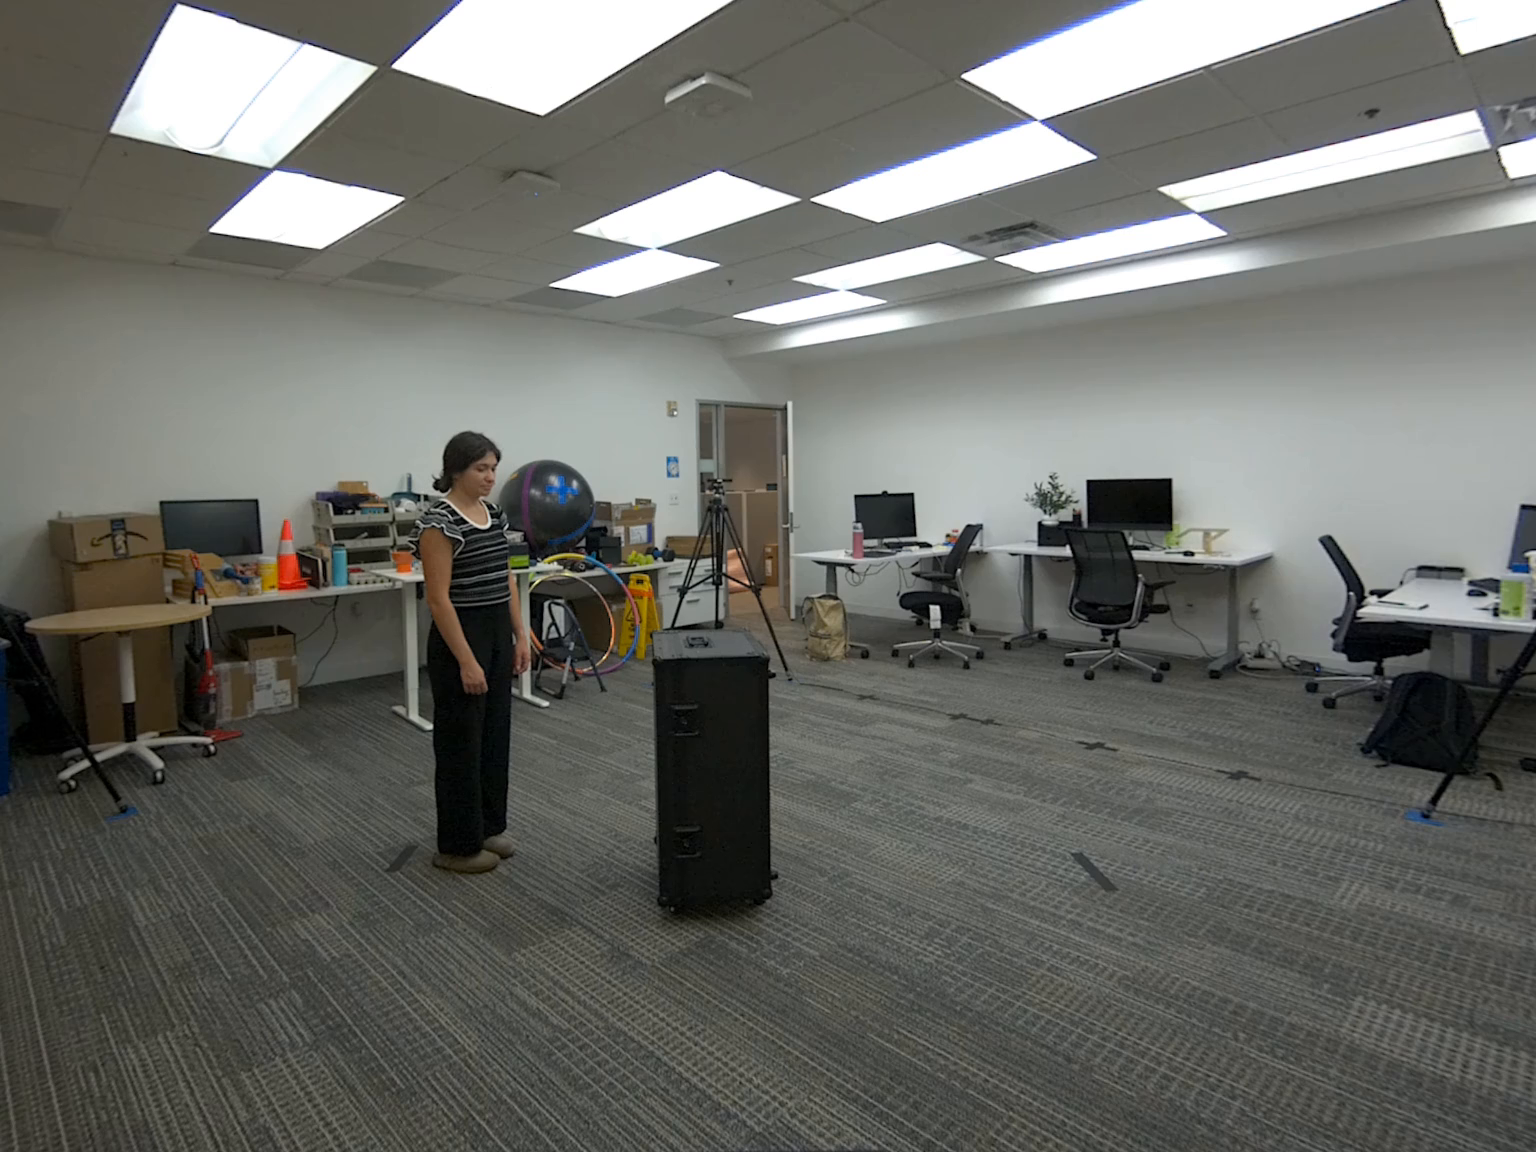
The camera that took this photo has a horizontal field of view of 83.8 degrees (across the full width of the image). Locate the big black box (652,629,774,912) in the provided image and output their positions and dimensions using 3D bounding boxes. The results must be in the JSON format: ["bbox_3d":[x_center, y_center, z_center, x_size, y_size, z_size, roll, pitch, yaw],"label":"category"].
[{"bbox_3d":[-0.188,0.644,2.895,0.394,0.858,0.526,-1,4,-6],"label":"big black box"}]
